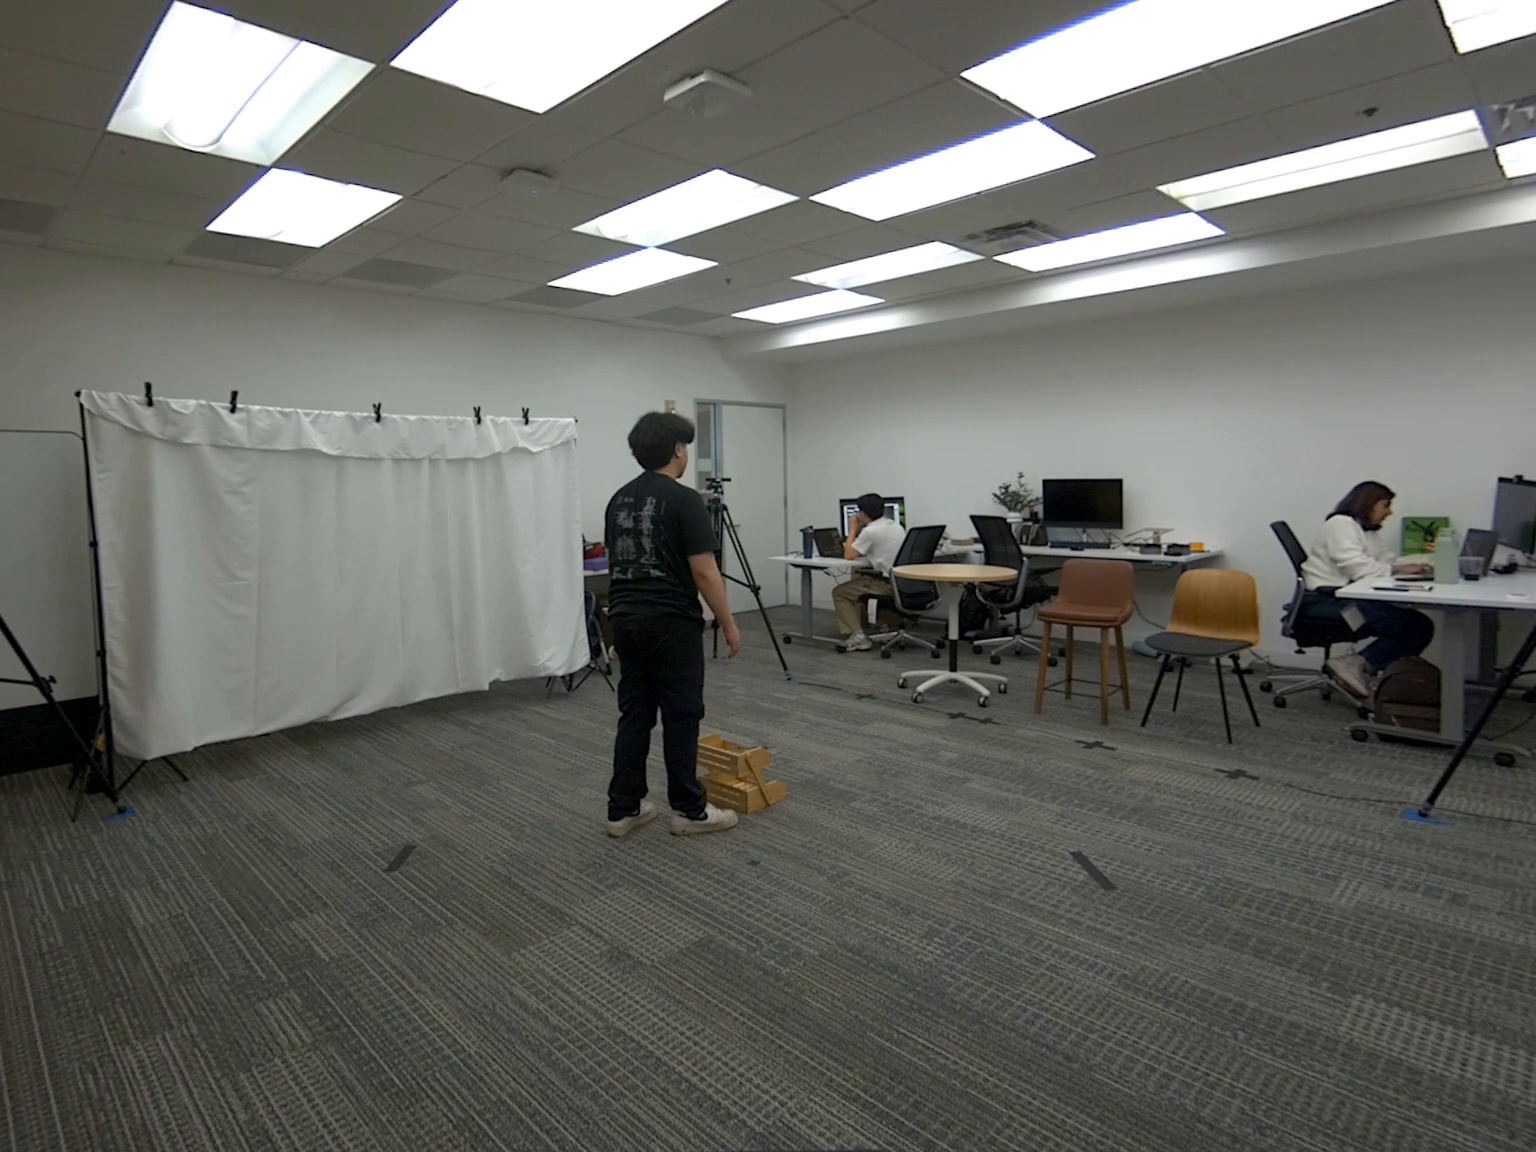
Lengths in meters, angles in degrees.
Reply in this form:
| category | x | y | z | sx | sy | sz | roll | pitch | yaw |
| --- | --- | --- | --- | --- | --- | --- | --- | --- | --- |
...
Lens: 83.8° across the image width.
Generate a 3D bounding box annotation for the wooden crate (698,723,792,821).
| category | x | y | z | sx | sy | sz | roll | pitch | yaw |
| --- | --- | --- | --- | --- | --- | --- | --- | --- | --- |
| wooden crate | -0.124 | 0.839 | 3.730 | 0.334 | 0.272 | 0.294 | 4 | 8 | 44 |
